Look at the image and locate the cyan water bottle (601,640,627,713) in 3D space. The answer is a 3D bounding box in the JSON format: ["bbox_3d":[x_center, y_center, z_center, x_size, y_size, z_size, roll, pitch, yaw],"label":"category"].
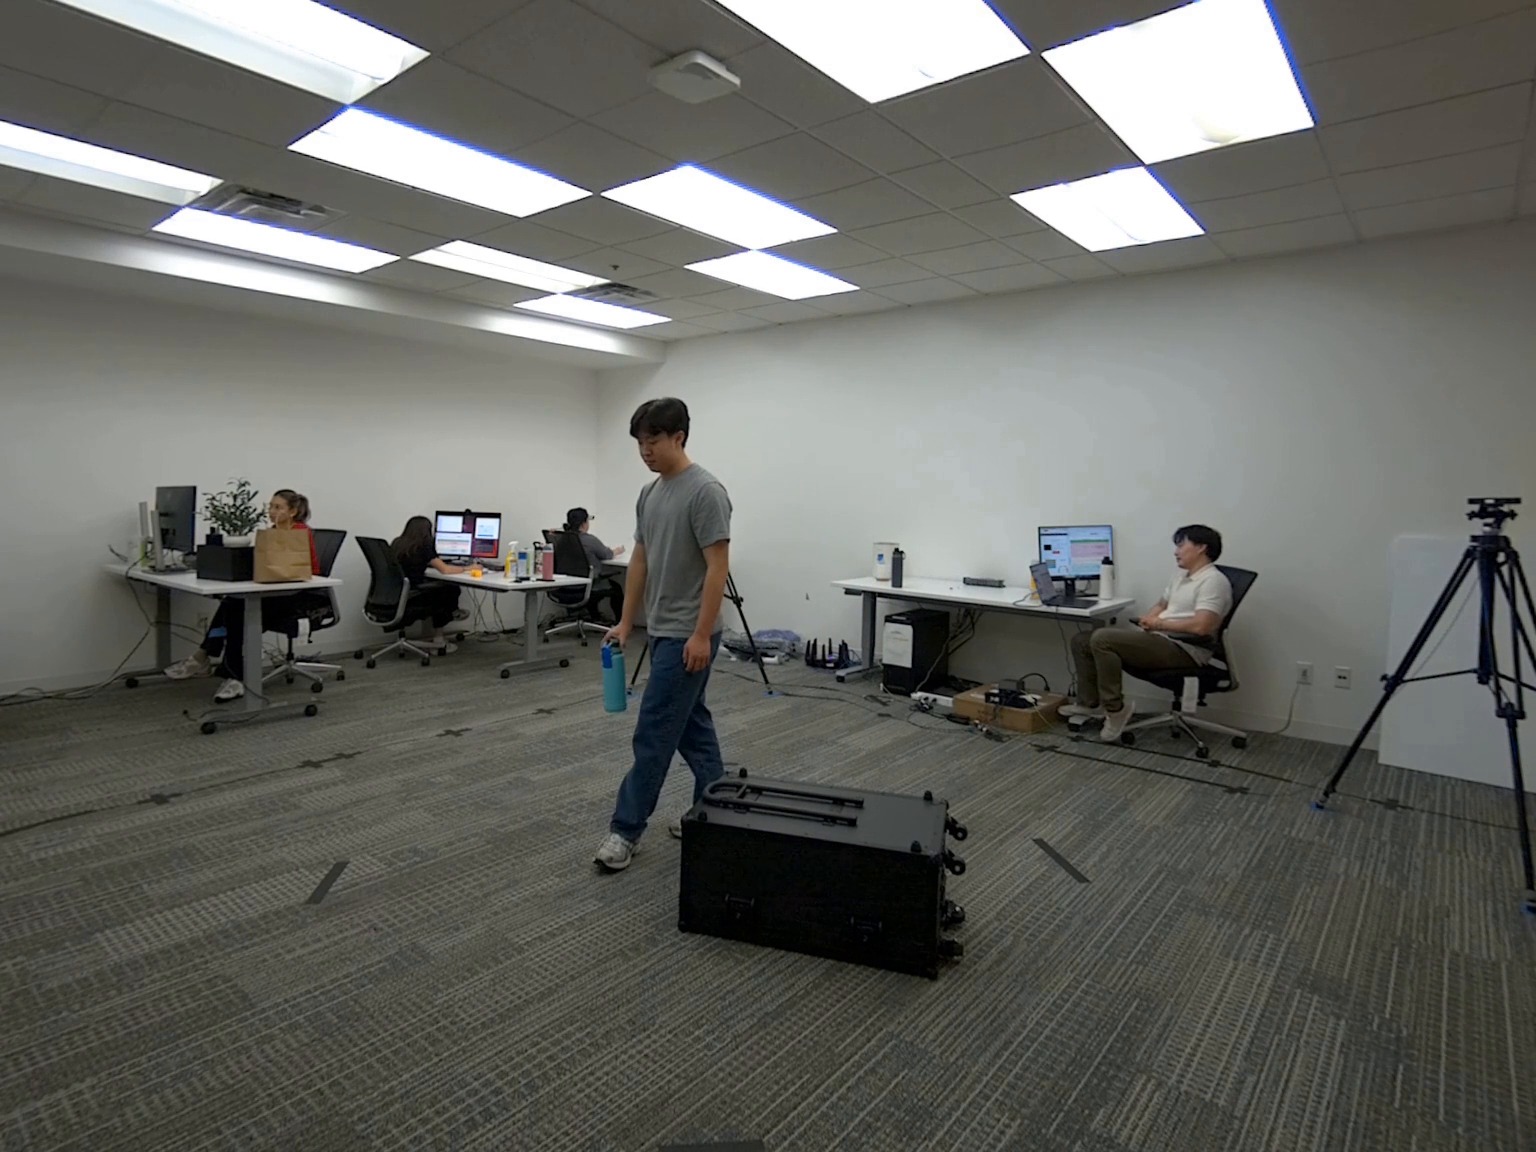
[{"bbox_3d":[-0.629,0.386,3.373,0.092,0.282,0.093,-3,5,-2],"label":"cyan water bottle"}]
